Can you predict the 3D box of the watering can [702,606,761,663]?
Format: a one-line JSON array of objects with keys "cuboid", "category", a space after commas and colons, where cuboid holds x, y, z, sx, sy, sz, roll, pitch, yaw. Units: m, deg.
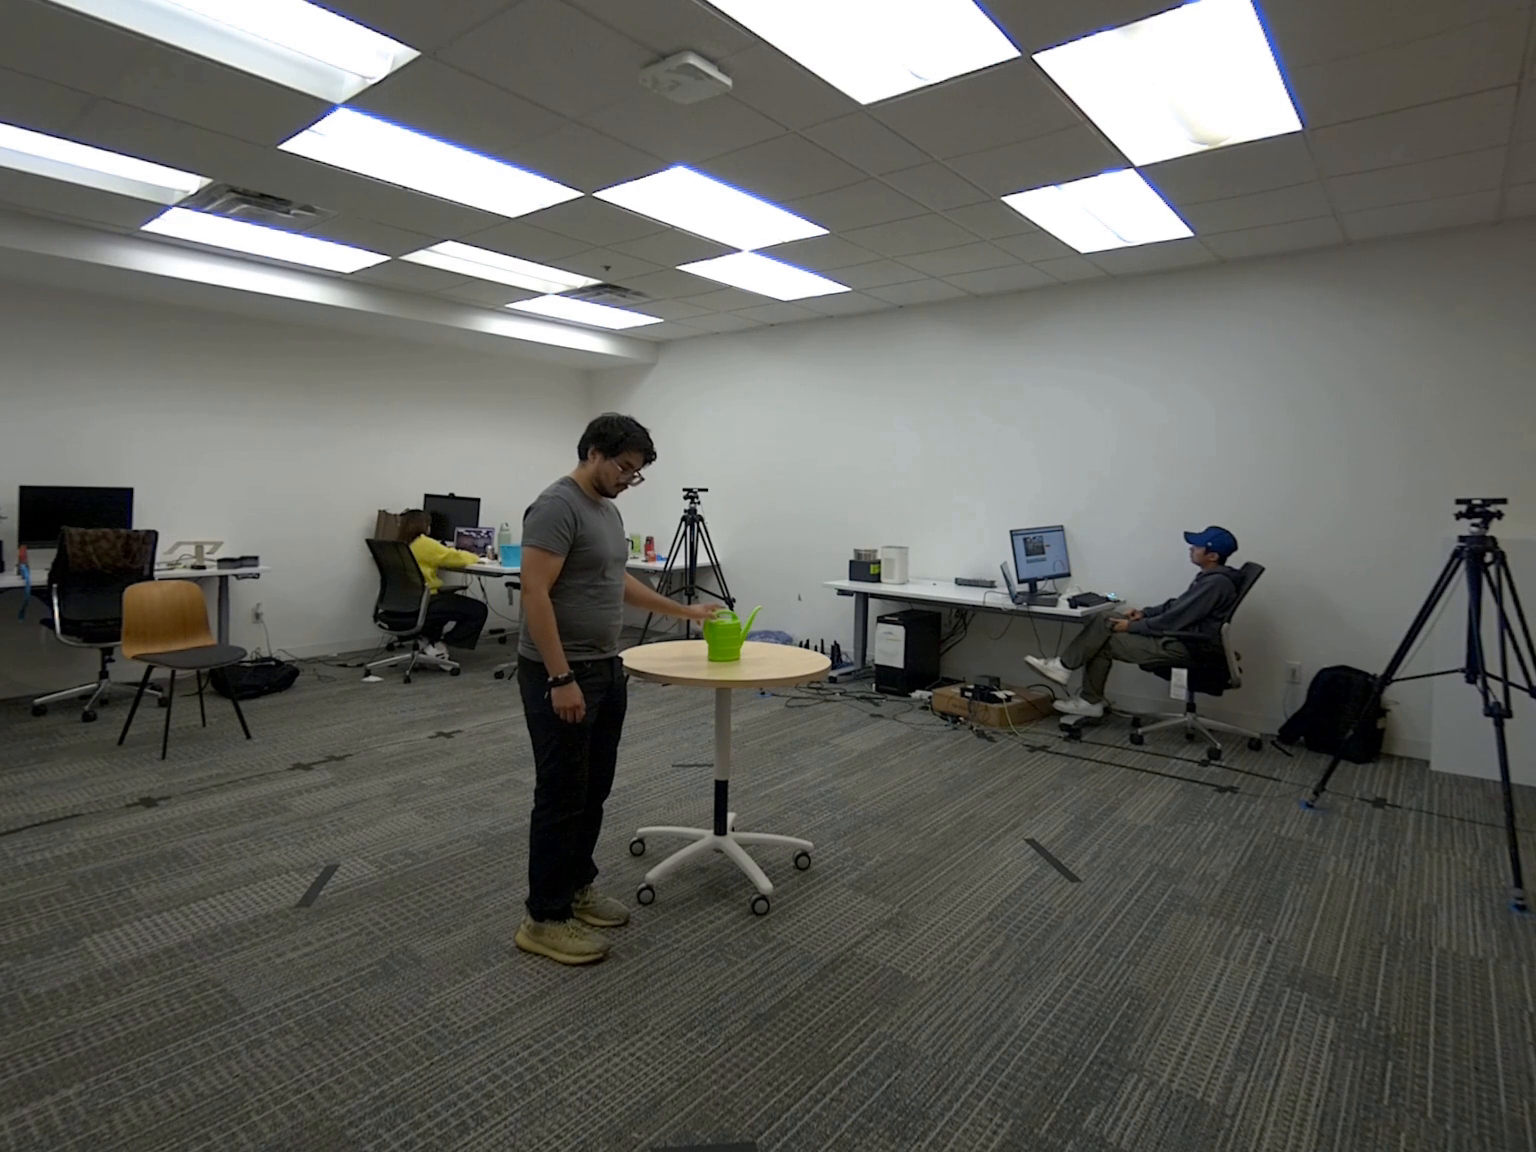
[{"cuboid": [-0.122, 0.207, 3.052, 0.271, 0.176, 0.101, -2, 4, -26], "category": "watering can"}]
